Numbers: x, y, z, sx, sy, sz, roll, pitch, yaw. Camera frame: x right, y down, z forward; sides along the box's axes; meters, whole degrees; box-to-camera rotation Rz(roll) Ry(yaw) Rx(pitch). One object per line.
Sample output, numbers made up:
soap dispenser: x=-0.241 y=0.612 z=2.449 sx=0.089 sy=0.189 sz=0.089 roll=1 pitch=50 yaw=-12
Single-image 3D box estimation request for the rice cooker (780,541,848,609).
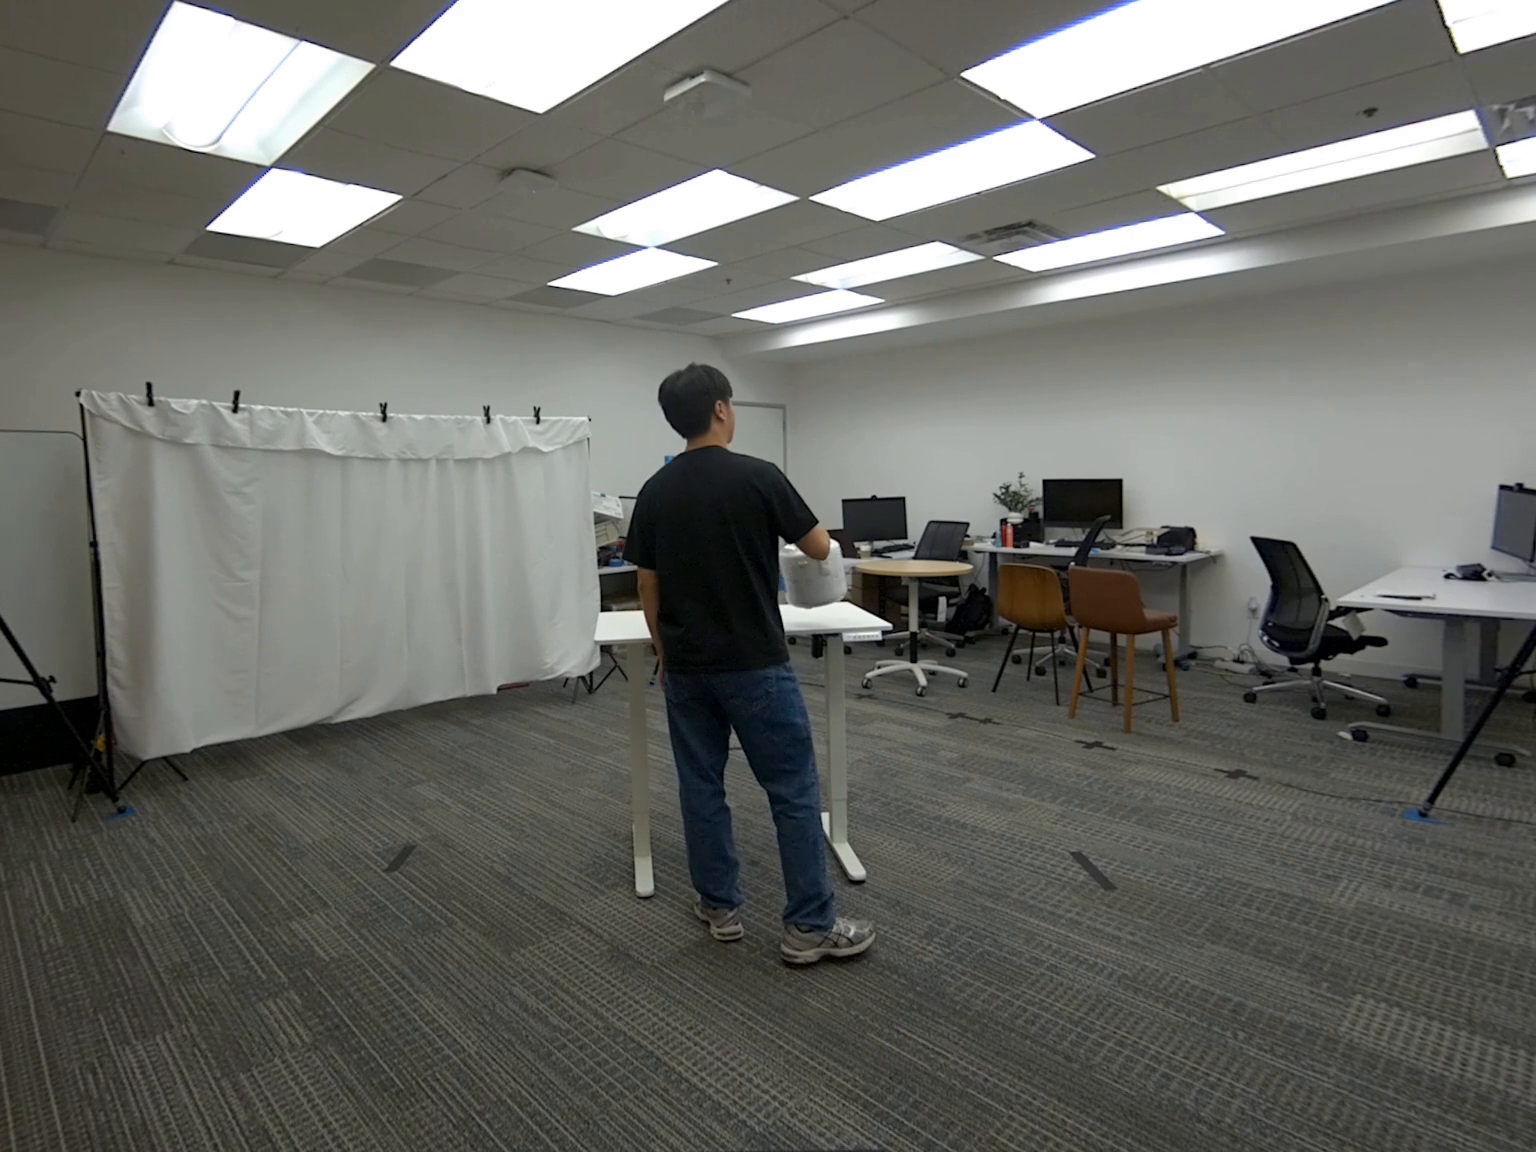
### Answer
rice cooker: x=0.152 y=-0.023 z=2.905 sx=0.214 sy=0.230 sz=0.226 roll=-14 pitch=12 yaw=-20
